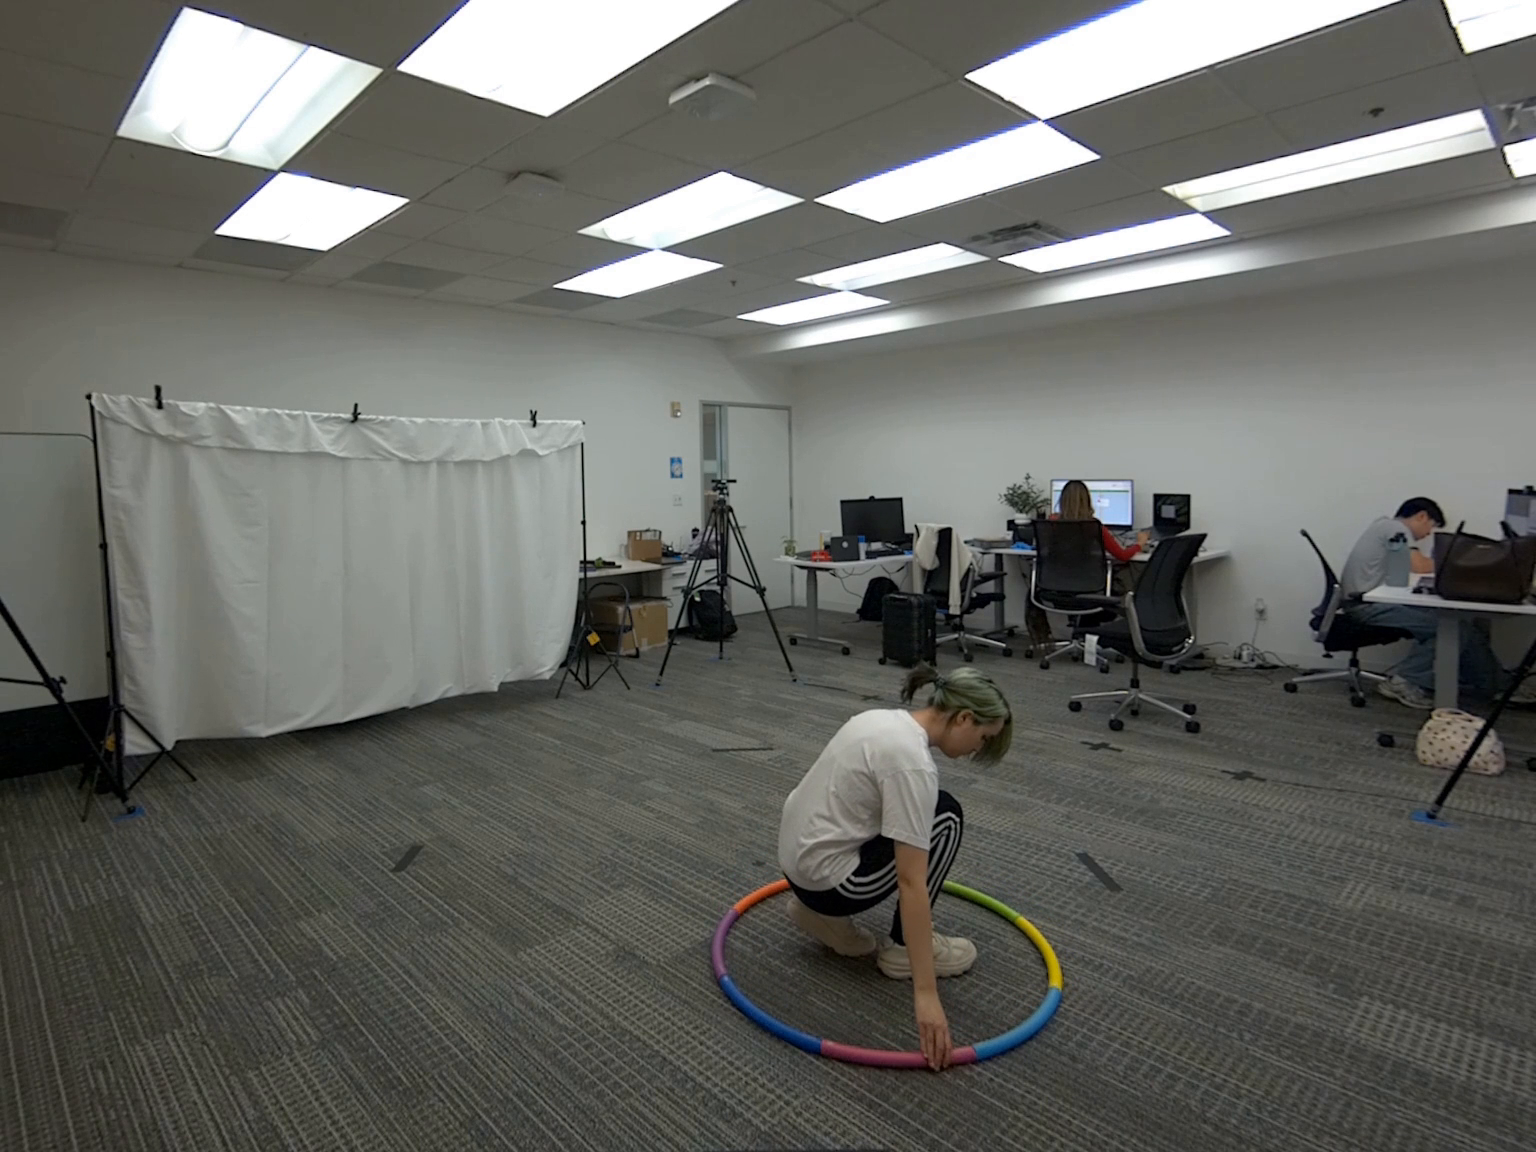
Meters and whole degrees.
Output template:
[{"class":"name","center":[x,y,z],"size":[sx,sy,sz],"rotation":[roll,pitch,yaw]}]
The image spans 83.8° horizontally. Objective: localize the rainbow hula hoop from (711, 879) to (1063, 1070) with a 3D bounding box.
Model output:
[{"class":"rainbow hula hoop","center":[0.328,1.082,2.498],"size":[0.985,0.051,0.991],"rotation":[-2,6,-2]}]
